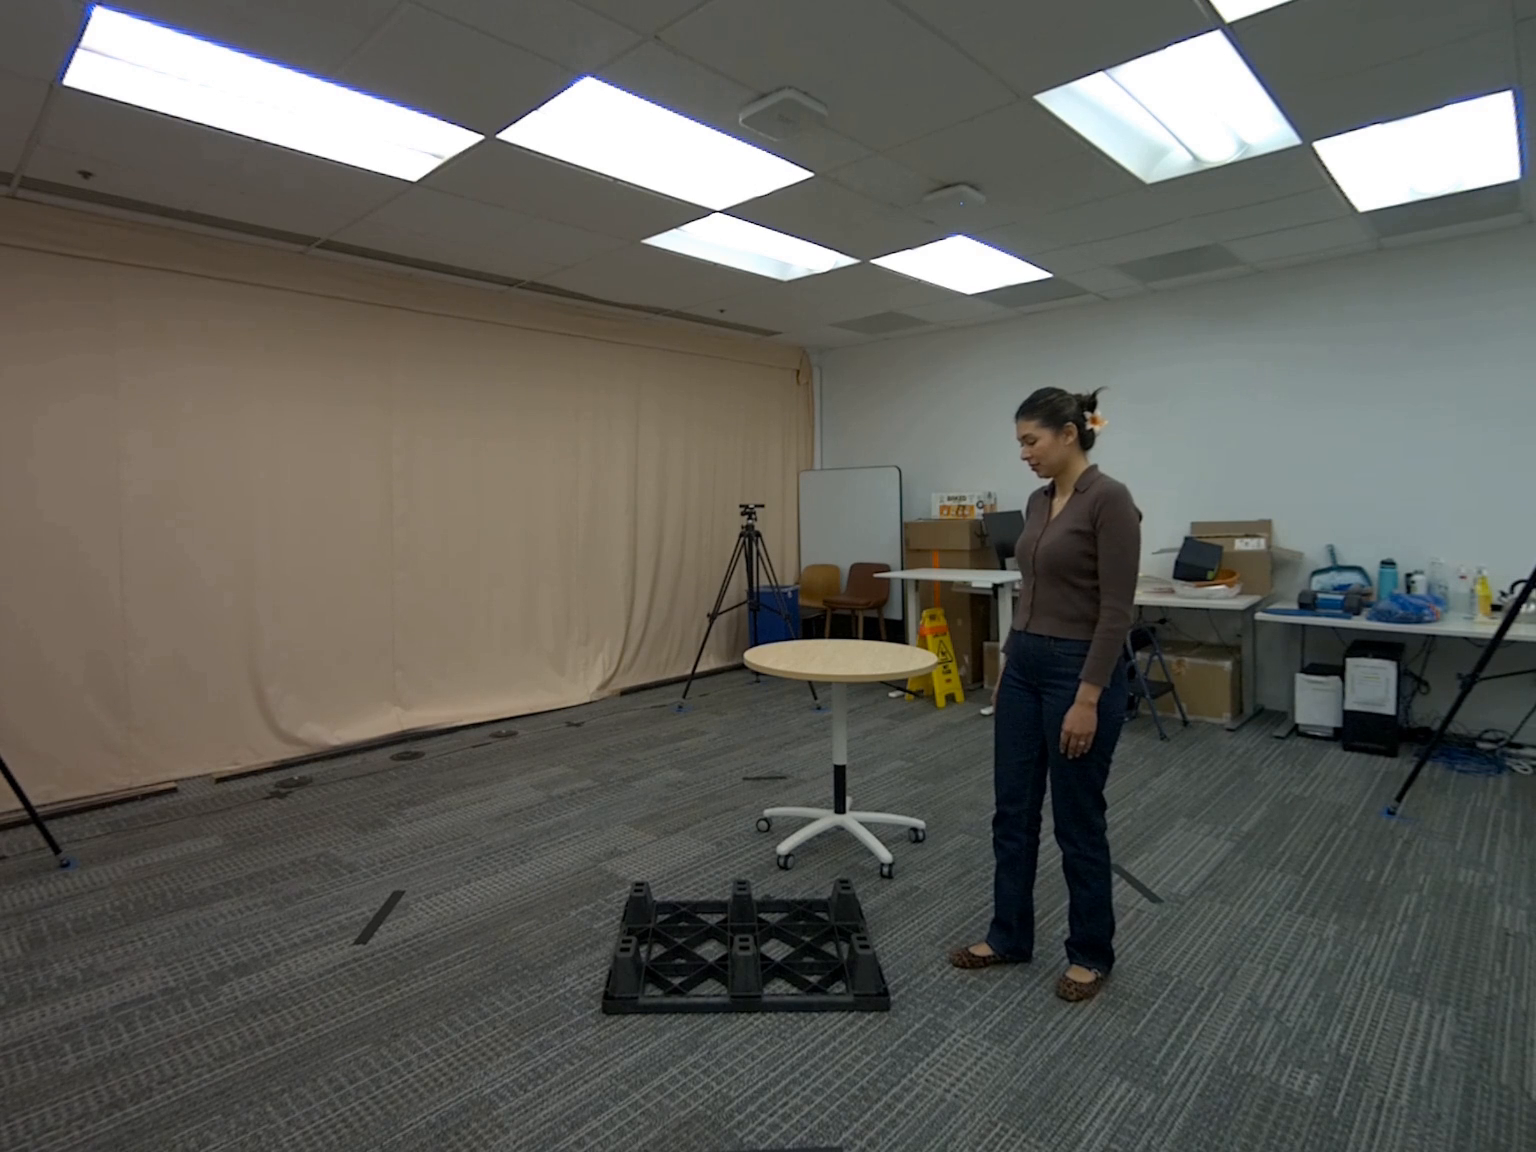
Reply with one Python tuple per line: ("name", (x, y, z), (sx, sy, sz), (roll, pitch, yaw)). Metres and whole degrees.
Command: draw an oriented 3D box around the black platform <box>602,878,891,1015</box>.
("black platform", (-0.077, 1.109, 2.596), (0.805, 0.143, 0.607), (-1, 5, -1))
